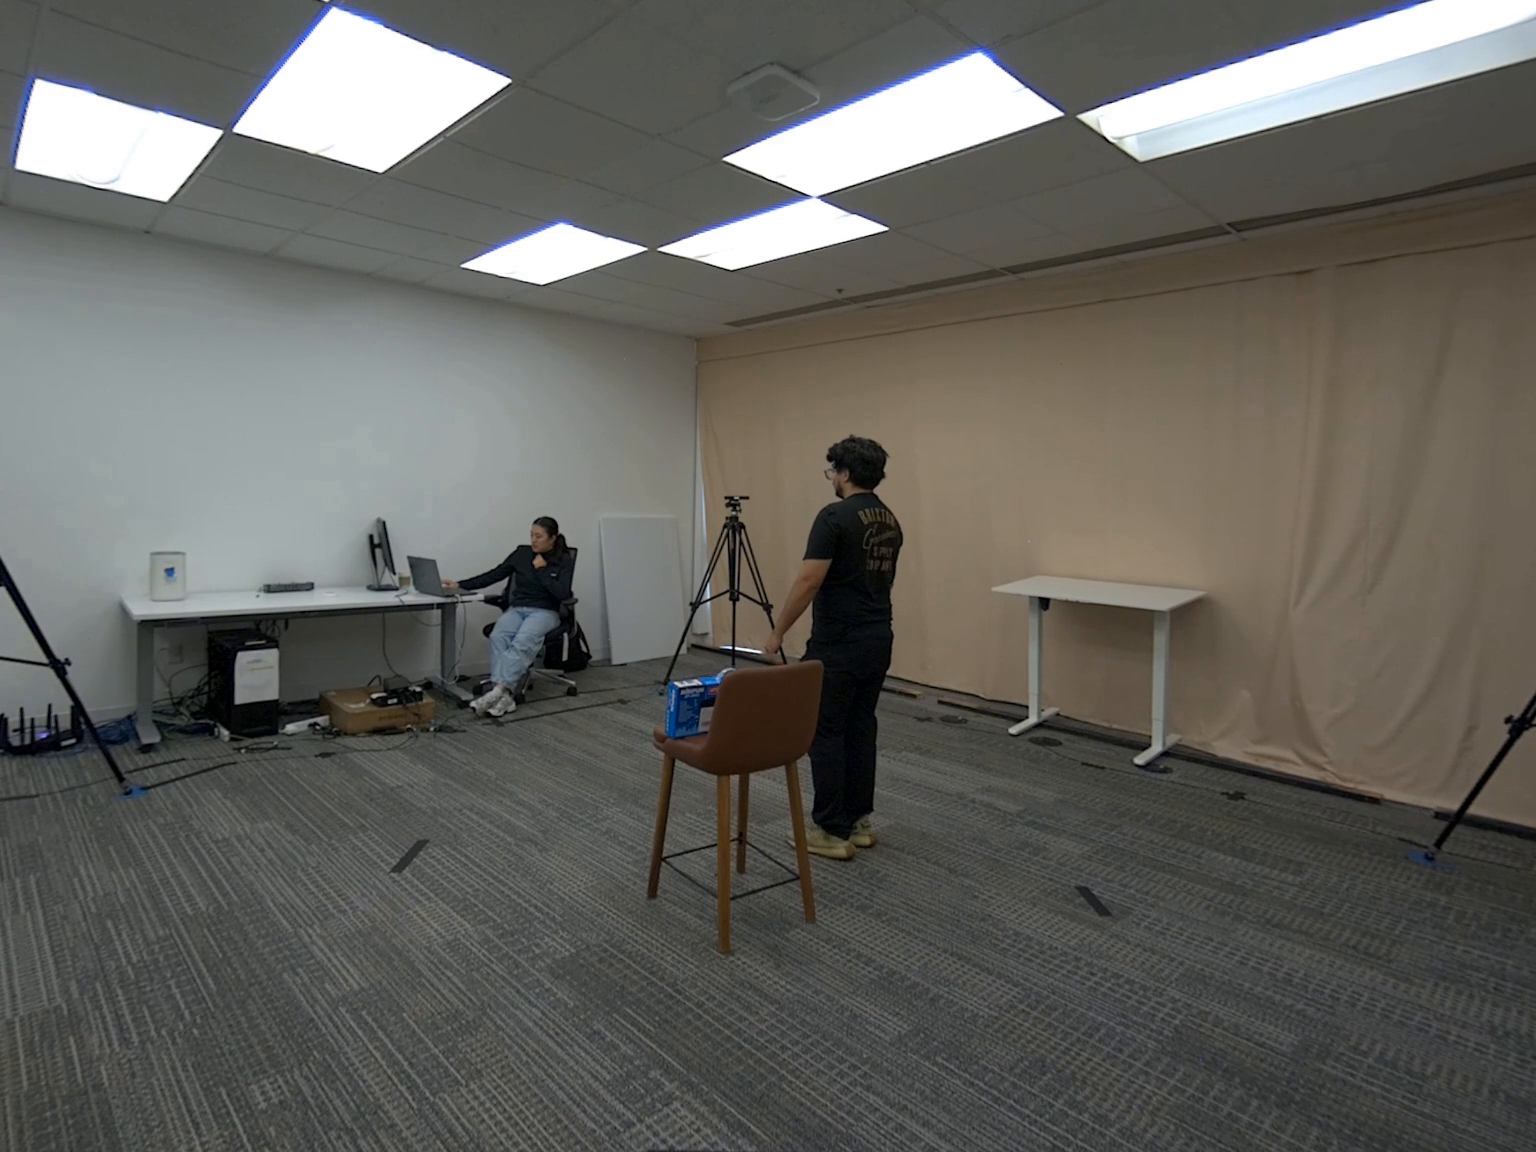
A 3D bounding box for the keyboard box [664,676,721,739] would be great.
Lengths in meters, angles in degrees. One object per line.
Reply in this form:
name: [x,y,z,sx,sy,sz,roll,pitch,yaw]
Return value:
keyboard box: [-0.141,0.429,2.831,0.427,0.175,0.061,-2,12,-35]
